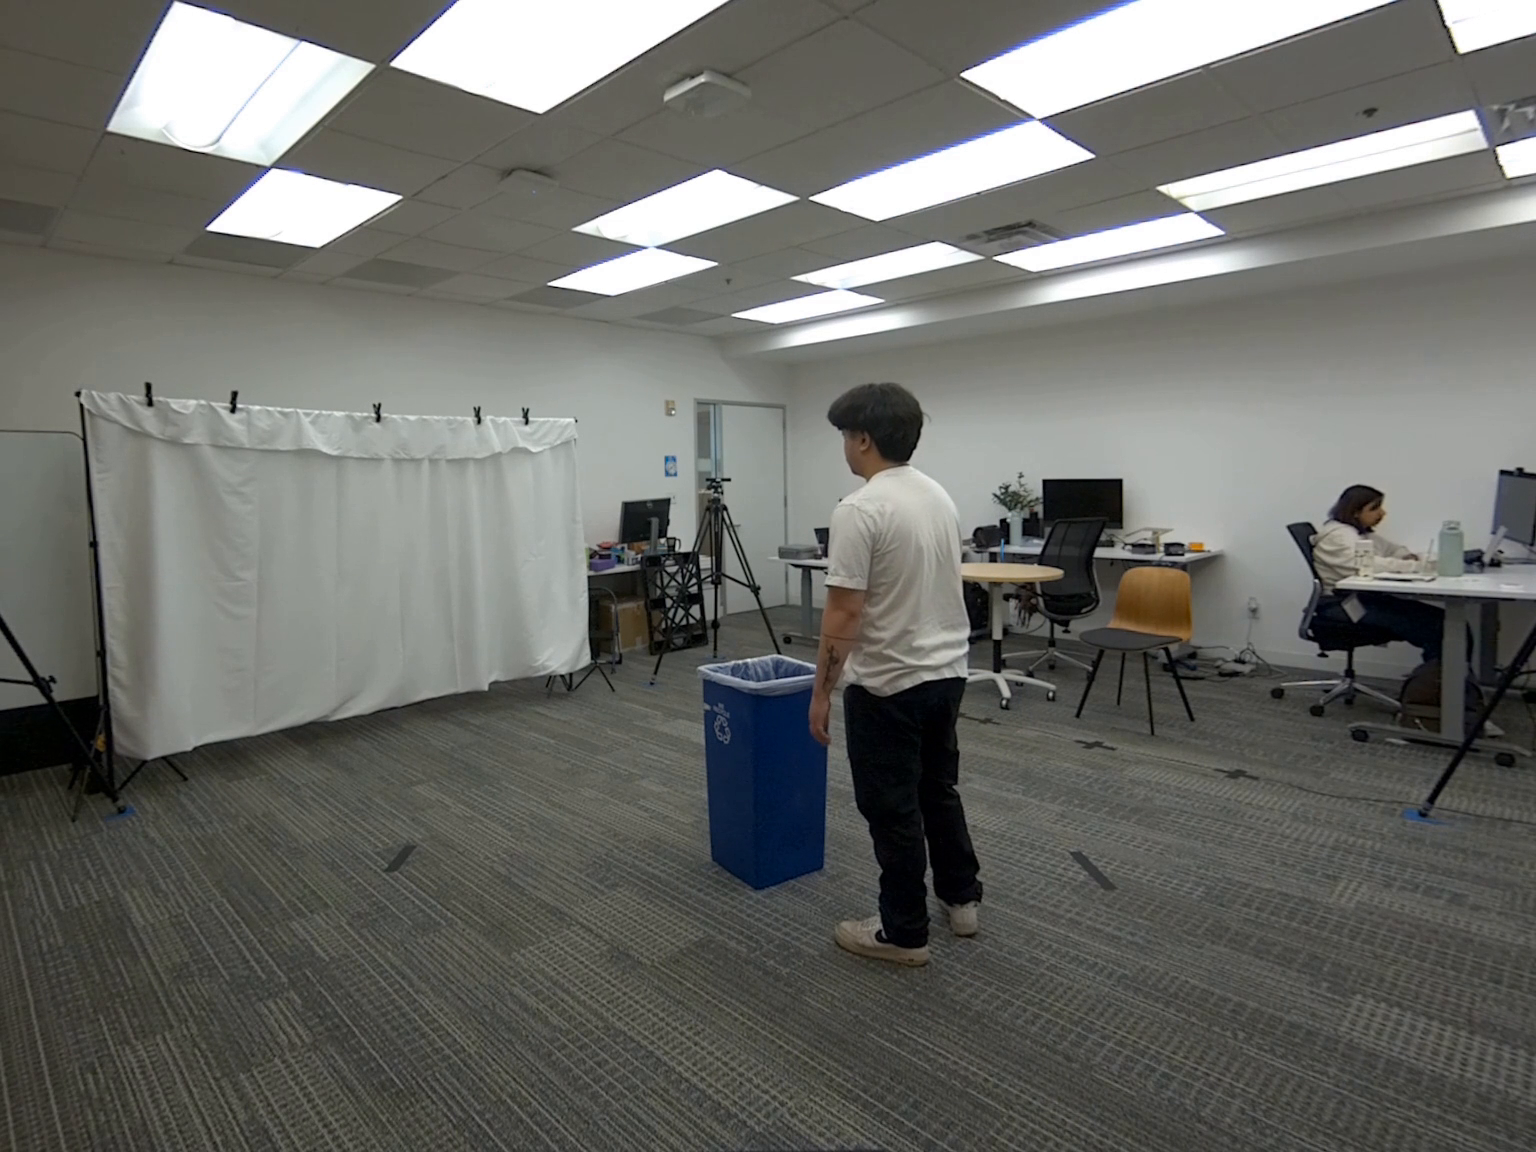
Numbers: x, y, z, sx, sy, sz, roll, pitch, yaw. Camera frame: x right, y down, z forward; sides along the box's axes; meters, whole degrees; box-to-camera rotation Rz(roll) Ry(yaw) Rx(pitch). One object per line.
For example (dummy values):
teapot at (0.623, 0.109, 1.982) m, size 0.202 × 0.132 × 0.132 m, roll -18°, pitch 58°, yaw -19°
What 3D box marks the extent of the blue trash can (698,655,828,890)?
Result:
blue trash can at (0.000, 0.687, 3.070) m, size 0.368 × 0.711 × 0.385 m, roll -4°, pitch 5°, yaw -35°
